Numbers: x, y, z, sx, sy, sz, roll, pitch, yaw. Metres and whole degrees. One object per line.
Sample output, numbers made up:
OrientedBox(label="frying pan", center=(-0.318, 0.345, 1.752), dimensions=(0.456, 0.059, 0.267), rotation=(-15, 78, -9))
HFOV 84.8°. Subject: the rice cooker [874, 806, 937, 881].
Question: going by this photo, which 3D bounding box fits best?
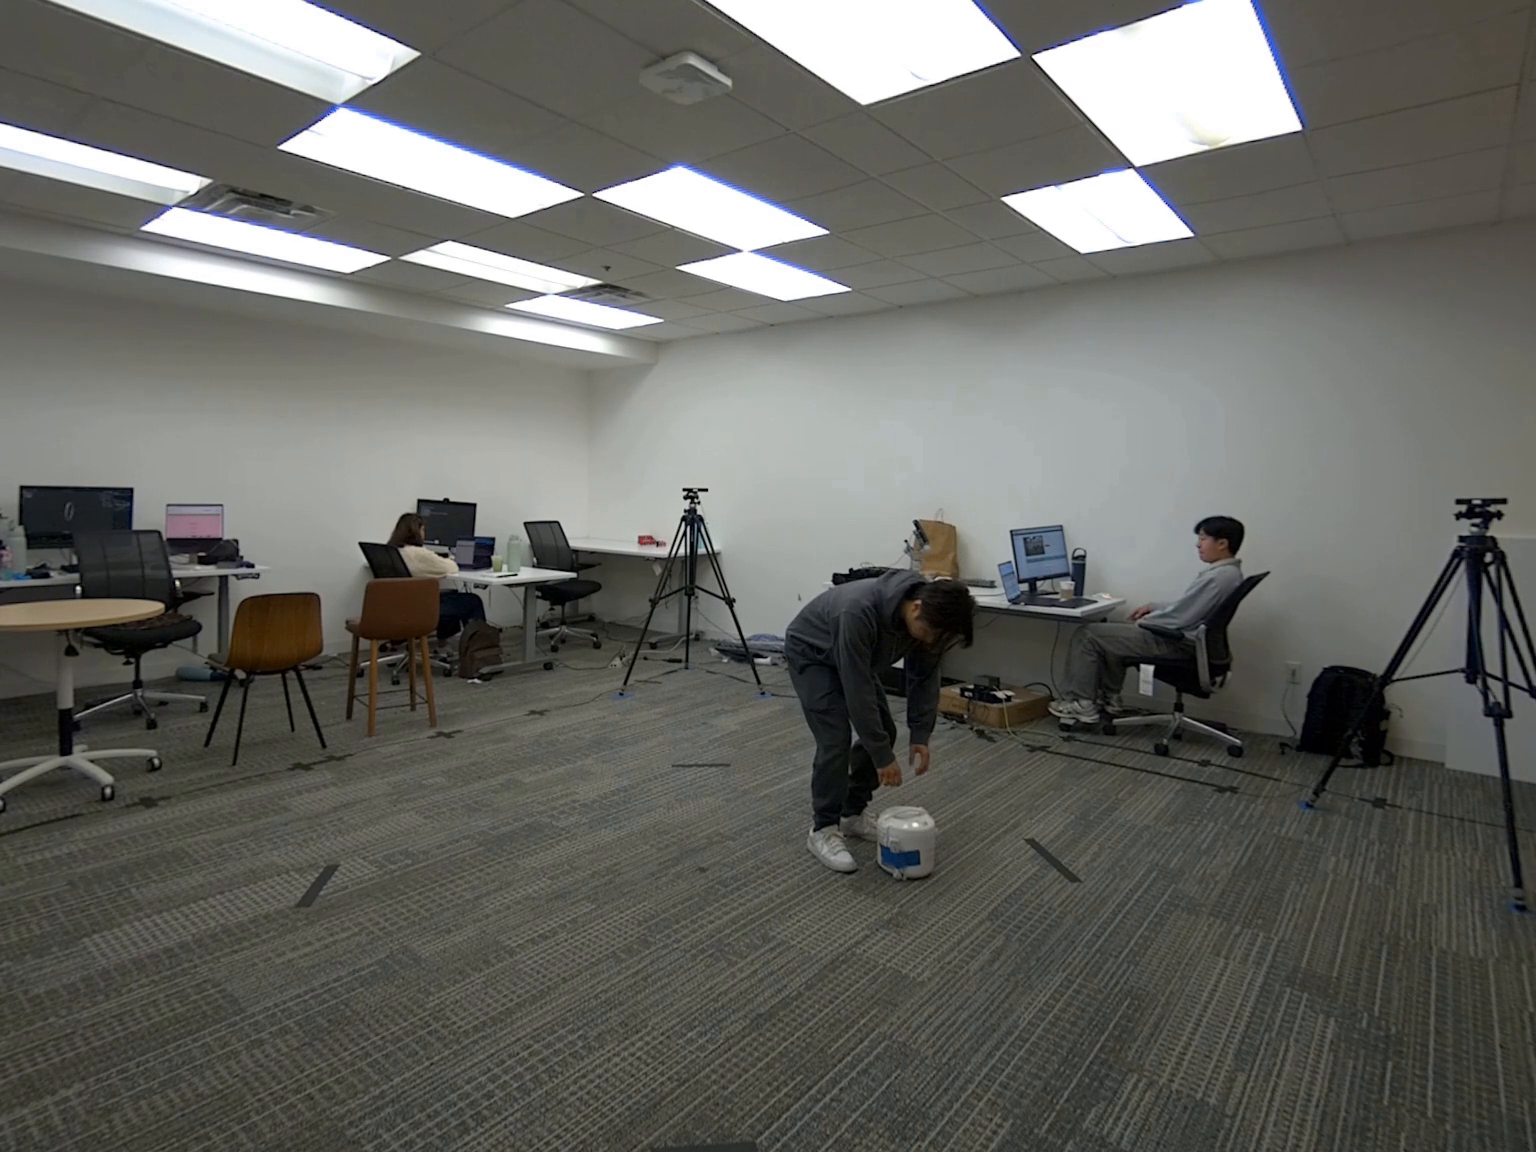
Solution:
OrientedBox(label="rice cooker", center=(0.502, 0.965, 3.152), dimensions=(0.216, 0.232, 0.223), rotation=(0, 6, -20))
